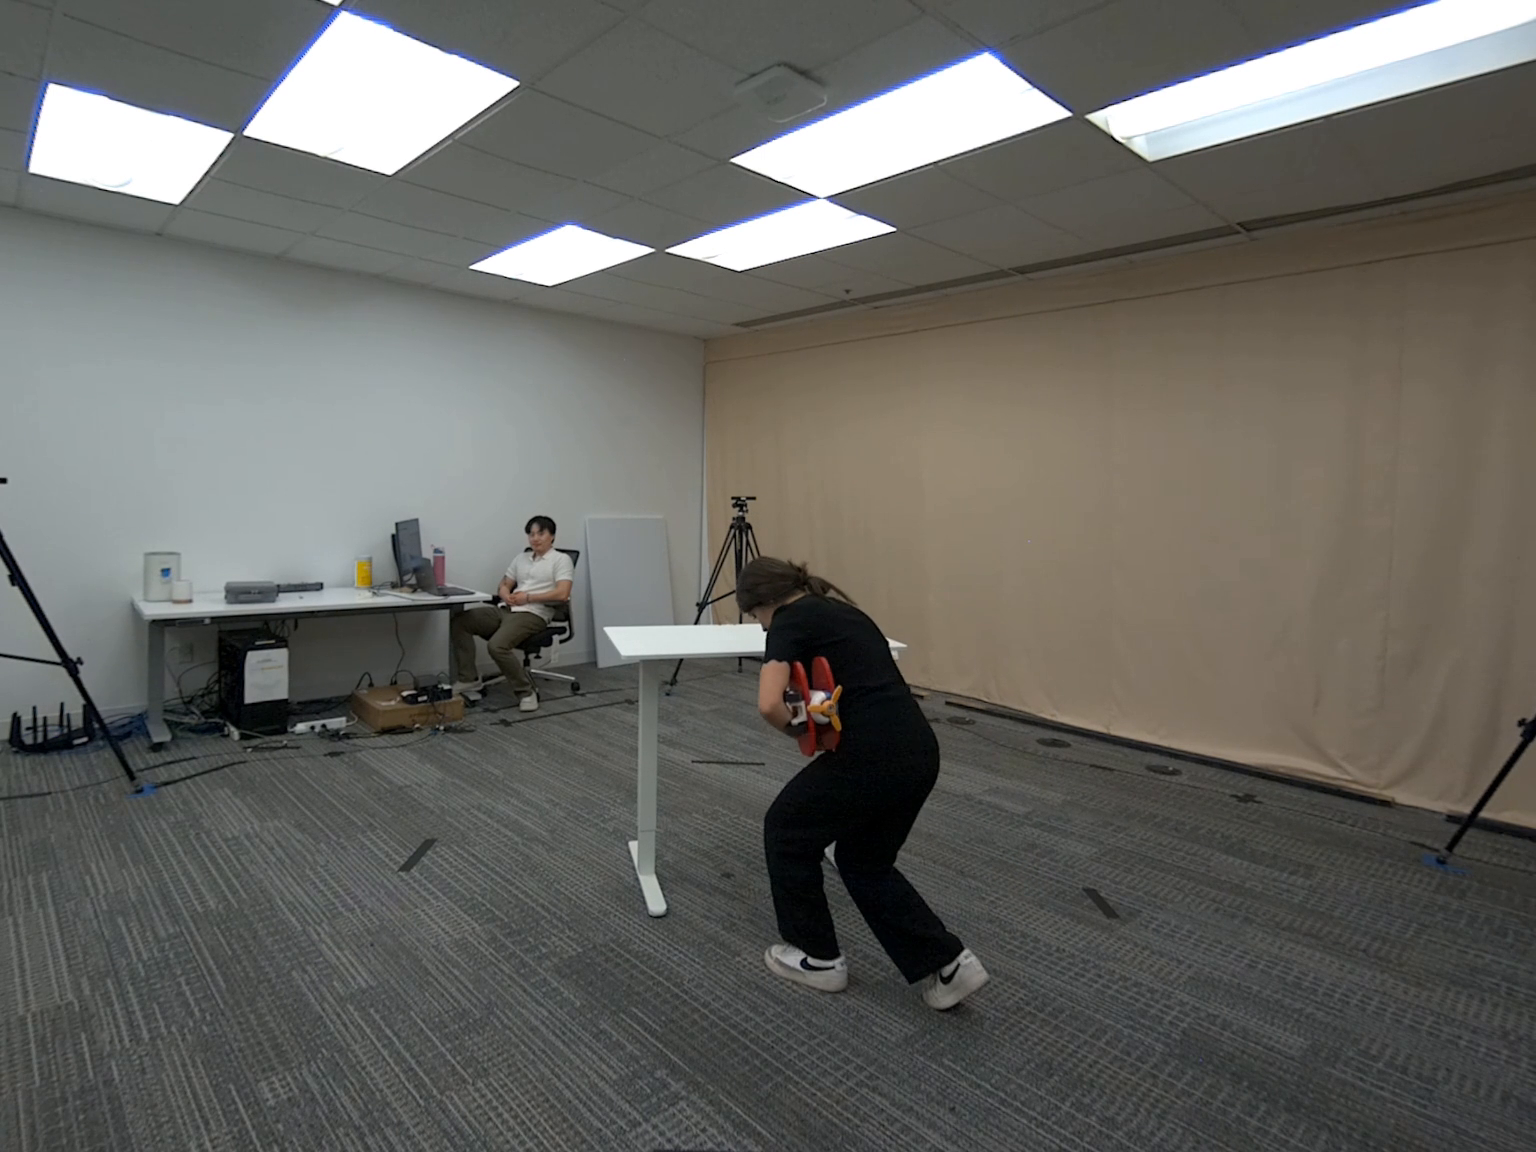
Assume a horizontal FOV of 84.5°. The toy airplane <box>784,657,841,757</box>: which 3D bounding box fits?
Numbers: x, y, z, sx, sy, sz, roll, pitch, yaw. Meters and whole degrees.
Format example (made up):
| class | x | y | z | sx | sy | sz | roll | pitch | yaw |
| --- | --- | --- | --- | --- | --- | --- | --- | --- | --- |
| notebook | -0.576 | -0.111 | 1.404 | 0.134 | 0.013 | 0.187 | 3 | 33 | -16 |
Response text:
| class | x | y | z | sx | sy | sz | roll | pitch | yaw |
| --- | --- | --- | --- | --- | --- | --- | --- | --- | --- |
| toy airplane | 0.082 | 0.336 | 2.307 | 0.155 | 0.247 | 0.266 | -3 | 27 | -15 |
